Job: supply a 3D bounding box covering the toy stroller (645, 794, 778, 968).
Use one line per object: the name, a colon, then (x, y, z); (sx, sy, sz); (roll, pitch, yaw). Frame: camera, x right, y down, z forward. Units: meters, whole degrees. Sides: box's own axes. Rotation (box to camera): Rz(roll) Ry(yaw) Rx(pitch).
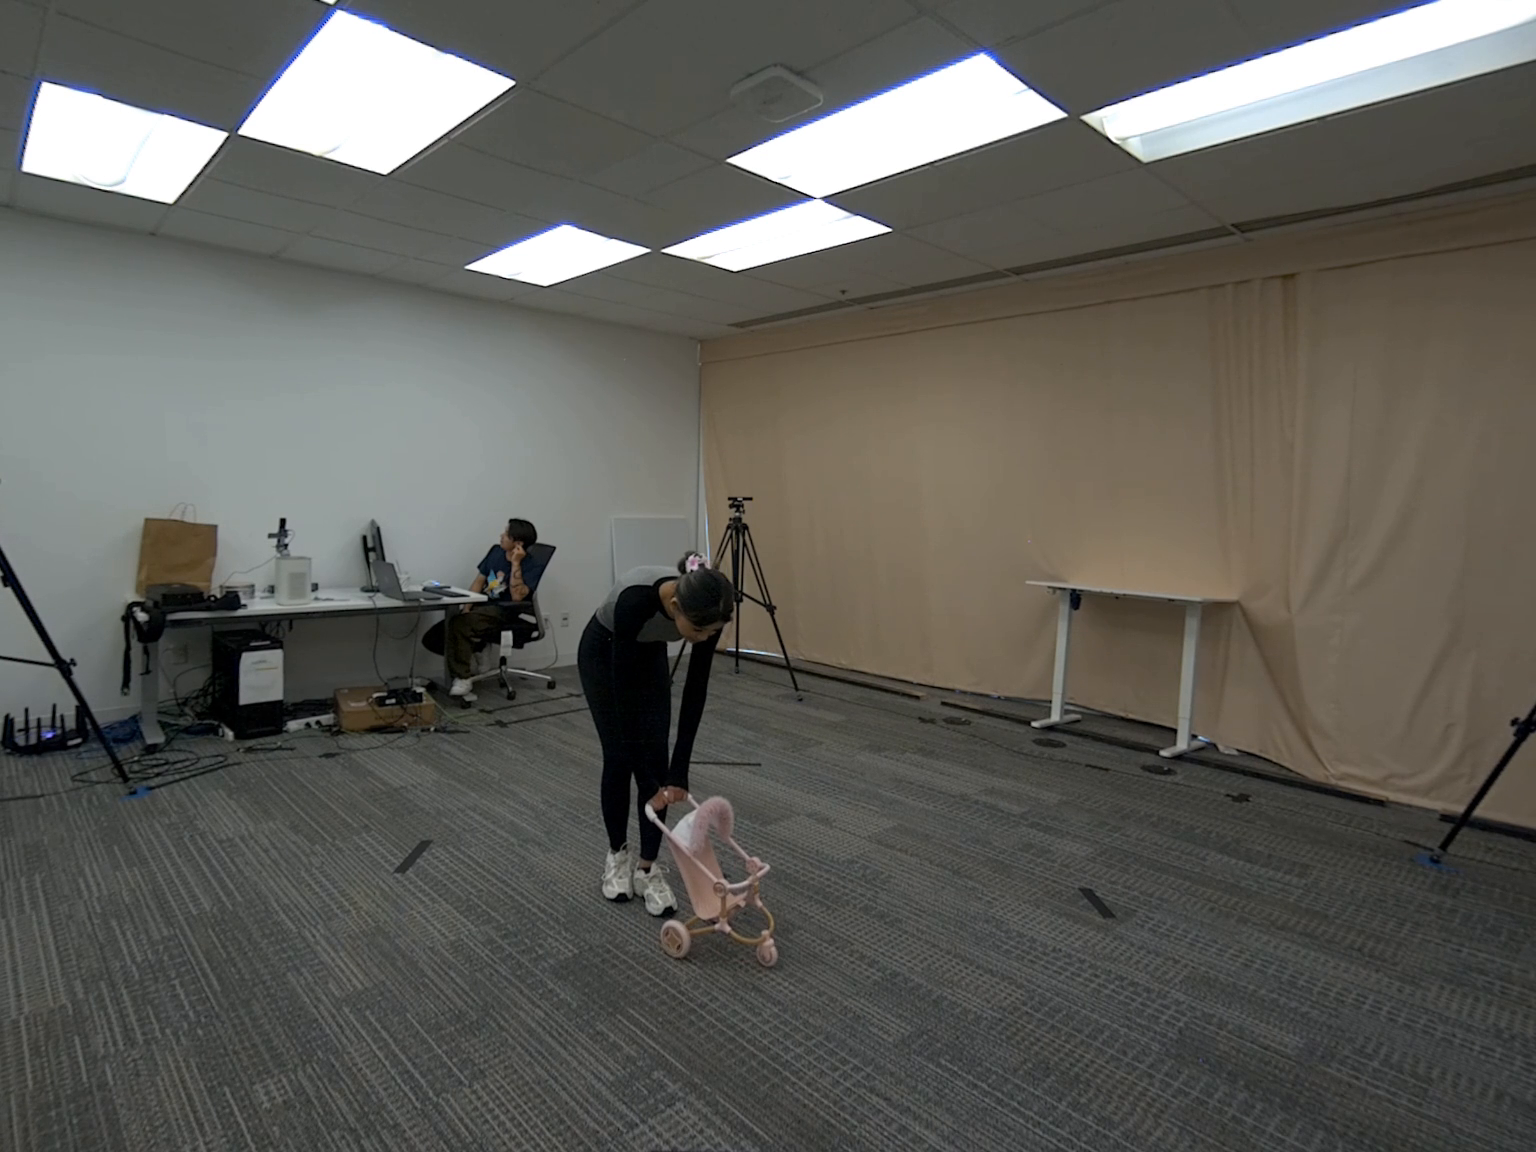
toy stroller: (-0.165, 0.929, 2.603); (0.347, 0.538, 0.275); (-16, -7, 36)
